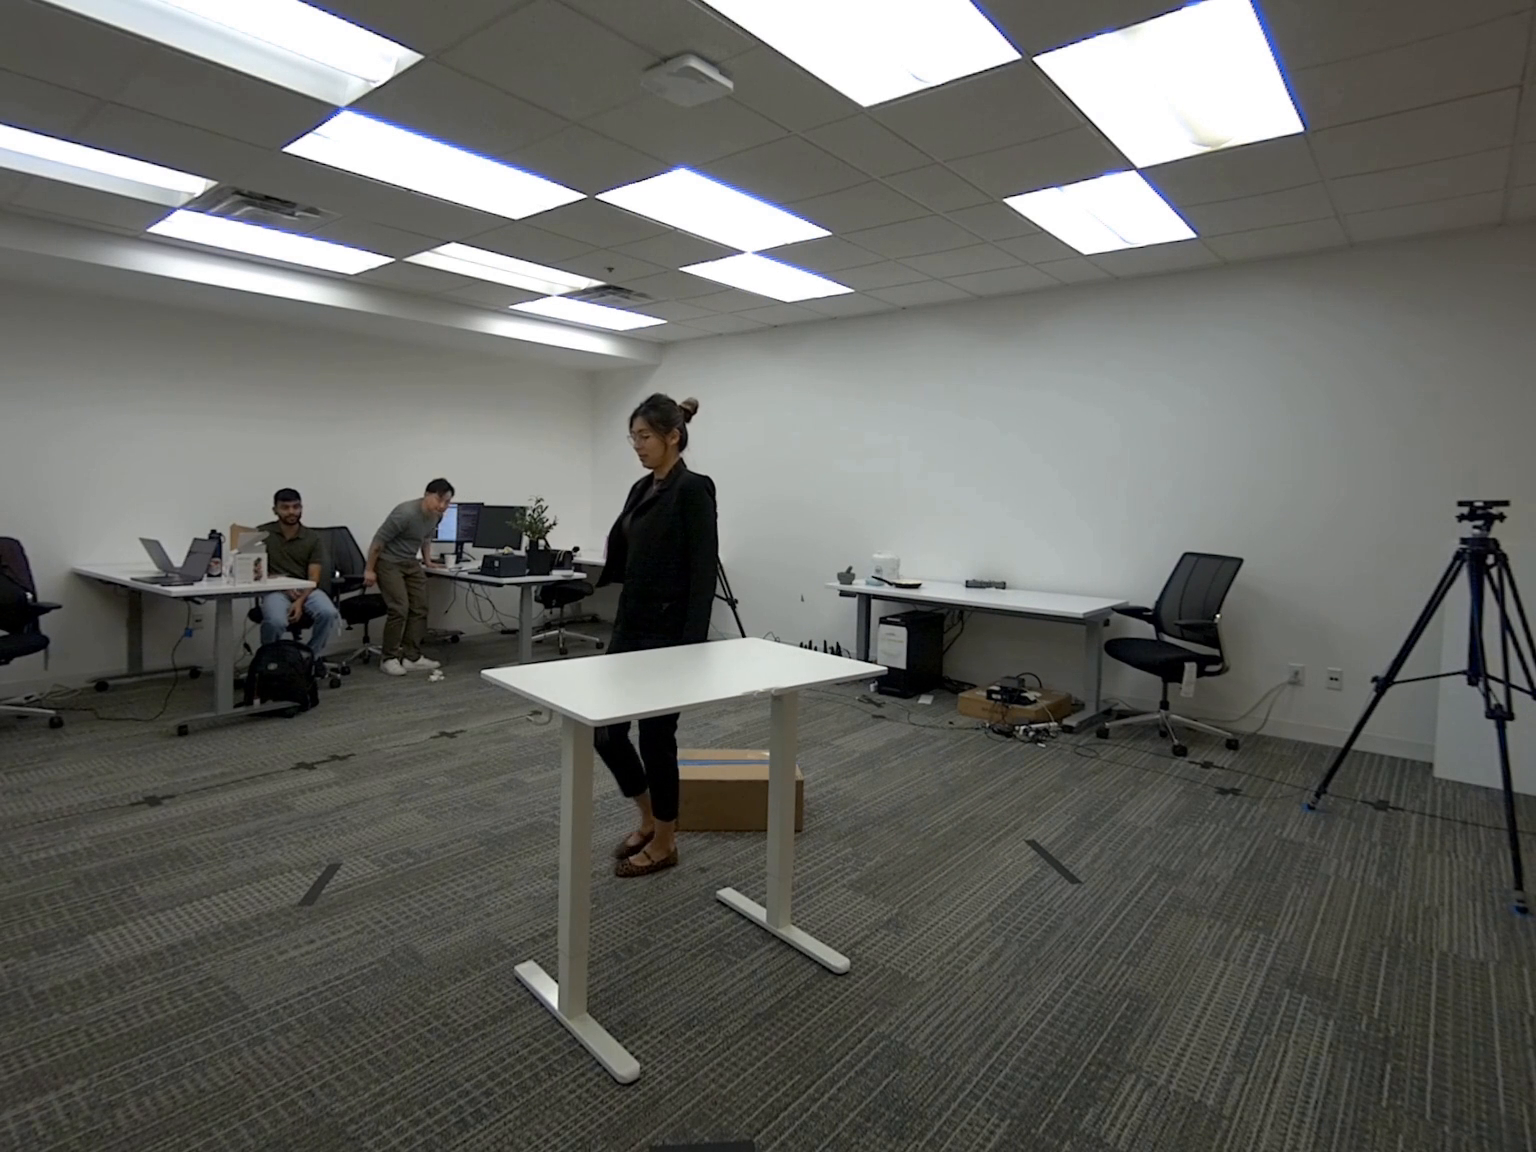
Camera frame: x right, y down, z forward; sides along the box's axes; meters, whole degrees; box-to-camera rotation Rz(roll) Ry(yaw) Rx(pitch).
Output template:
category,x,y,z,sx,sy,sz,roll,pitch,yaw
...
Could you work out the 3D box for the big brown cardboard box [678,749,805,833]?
category,x,y,z,sx,sy,sz,roll,pitch,yaw
big brown cardboard box,-0.157,0.912,3.672,0.587,0.232,0.420,0,4,-4
